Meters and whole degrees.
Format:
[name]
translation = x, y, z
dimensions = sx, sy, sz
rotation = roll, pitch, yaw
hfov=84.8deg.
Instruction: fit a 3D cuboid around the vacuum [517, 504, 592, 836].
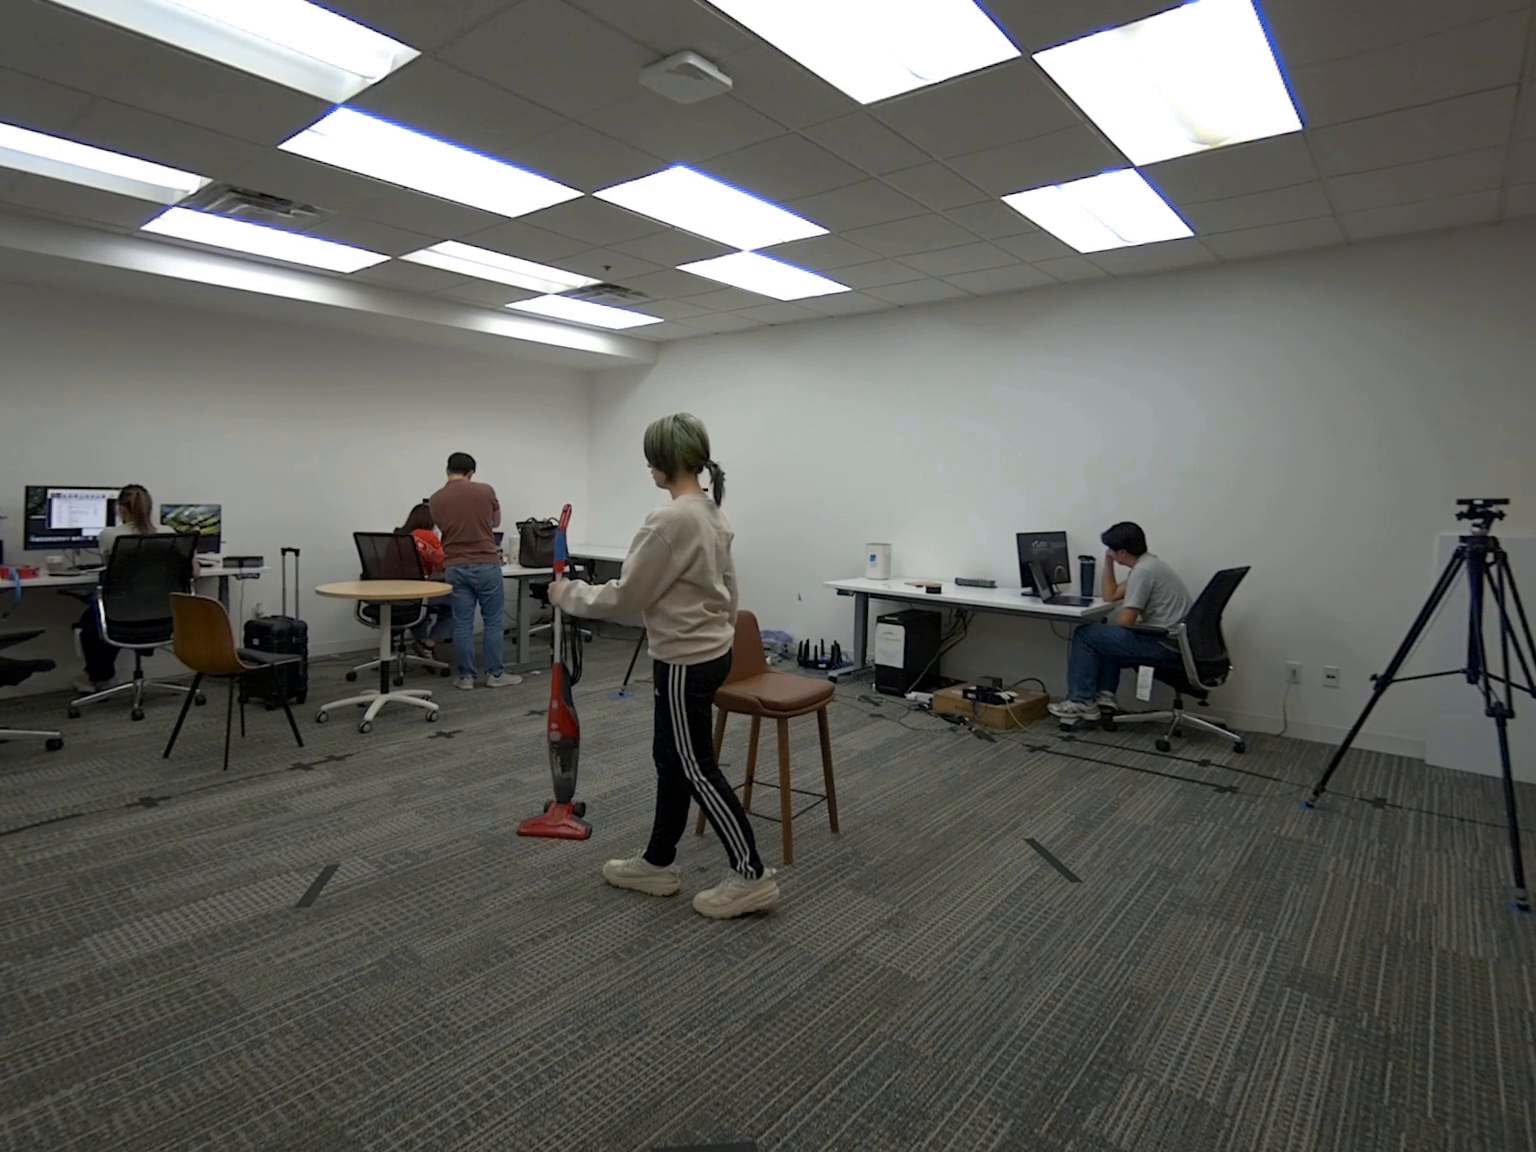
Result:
[vacuum]
translation = -0.701, 0.287, 2.862
dimensions = 0.257, 1.057, 0.140
rotation = -2, -8, 16
